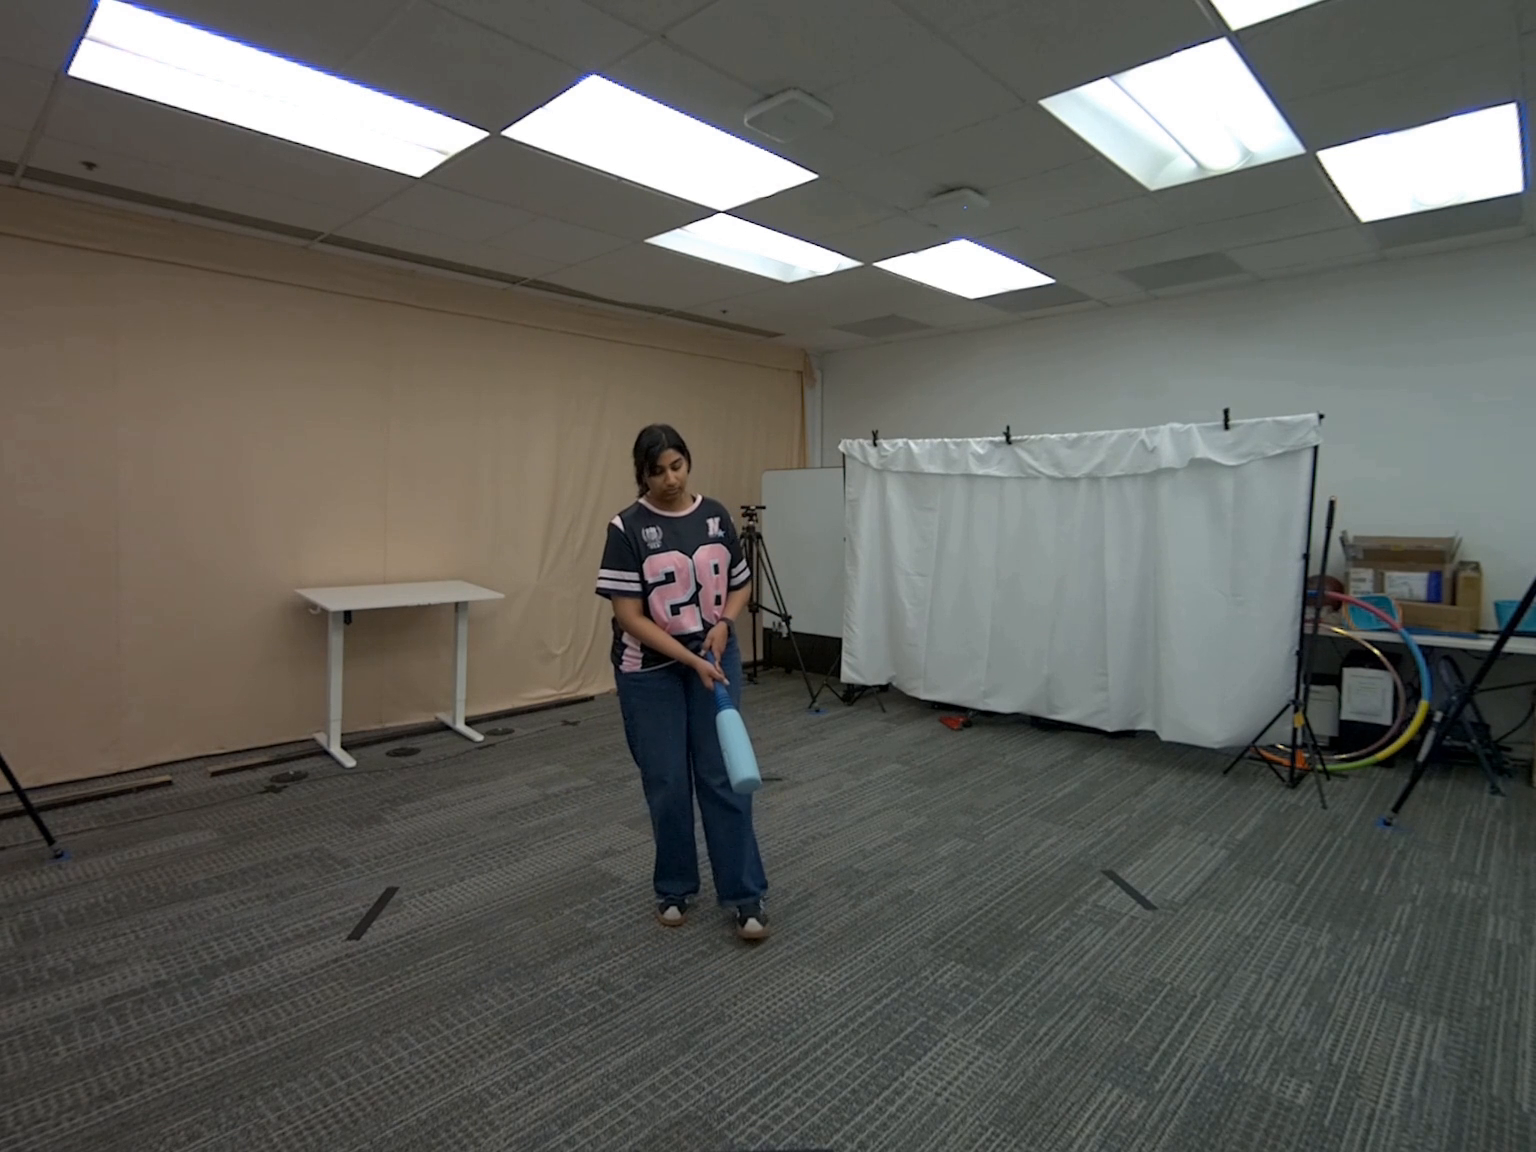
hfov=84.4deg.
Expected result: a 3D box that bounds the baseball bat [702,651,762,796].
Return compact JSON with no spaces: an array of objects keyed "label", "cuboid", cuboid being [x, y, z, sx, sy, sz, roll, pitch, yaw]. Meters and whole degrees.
[{"label":"baseball bat","cuboid":[-0.115,0.409,2.528,0.087,0.088,0.558,-2,42,-18]}]
